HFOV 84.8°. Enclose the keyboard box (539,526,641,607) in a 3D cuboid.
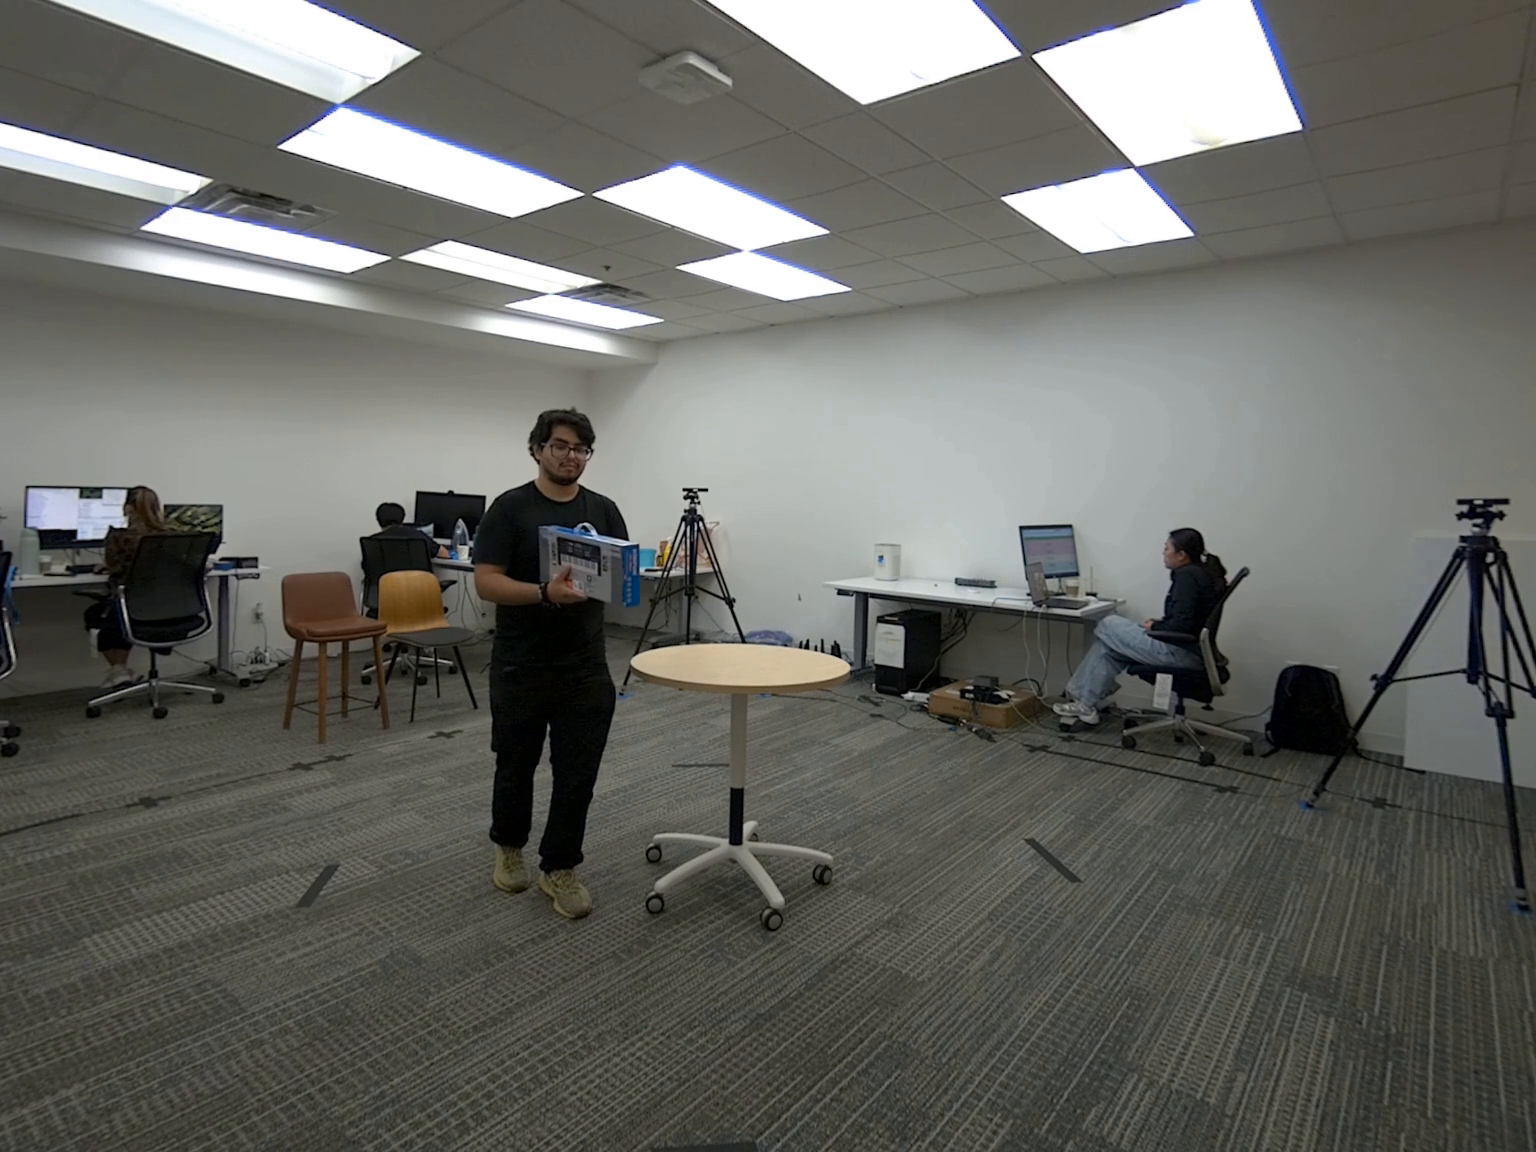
[{"bbox_3d":[-0.544,-0.034,2.466,0.057,0.174,0.453,-7,14,-44],"label":"keyboard box"}]
